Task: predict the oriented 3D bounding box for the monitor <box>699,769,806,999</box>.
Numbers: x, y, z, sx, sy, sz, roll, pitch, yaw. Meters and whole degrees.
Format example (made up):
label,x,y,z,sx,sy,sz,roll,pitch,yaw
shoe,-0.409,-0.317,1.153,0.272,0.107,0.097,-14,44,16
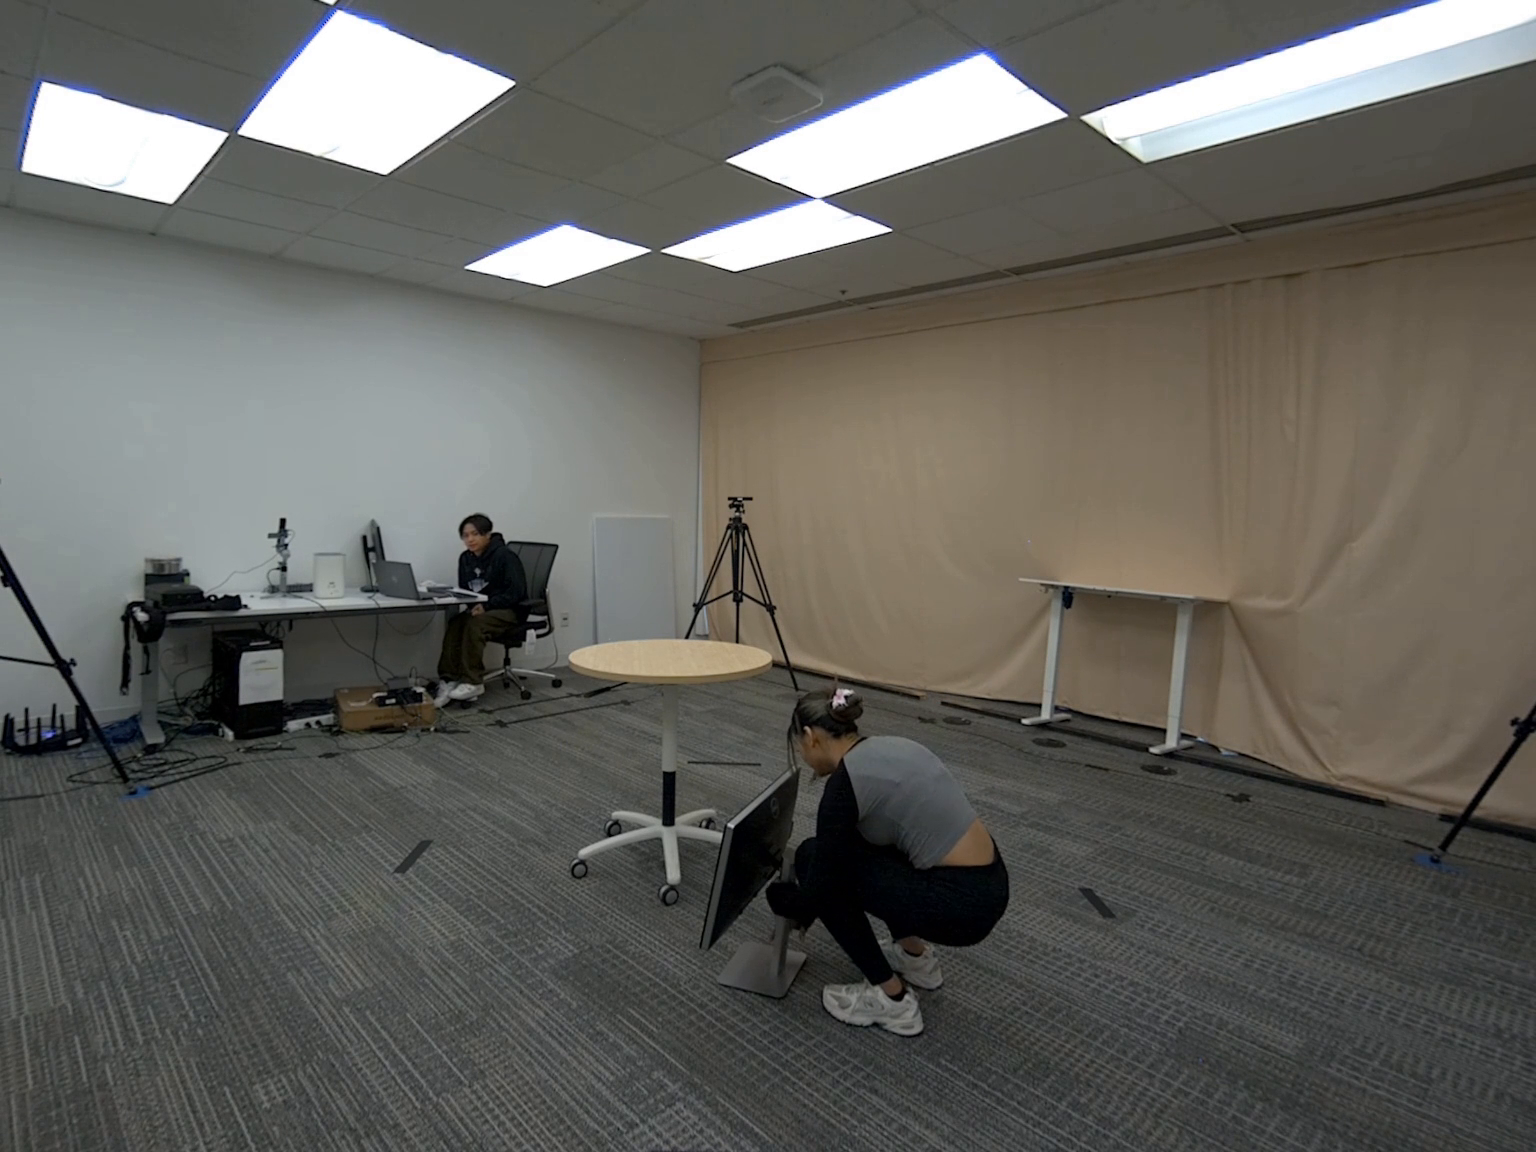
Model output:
label,x,y,z,sx,sy,sz,roll,pitch,yaw
monitor,-0.008,0.900,2.472,0.190,0.521,0.532,1,4,20
